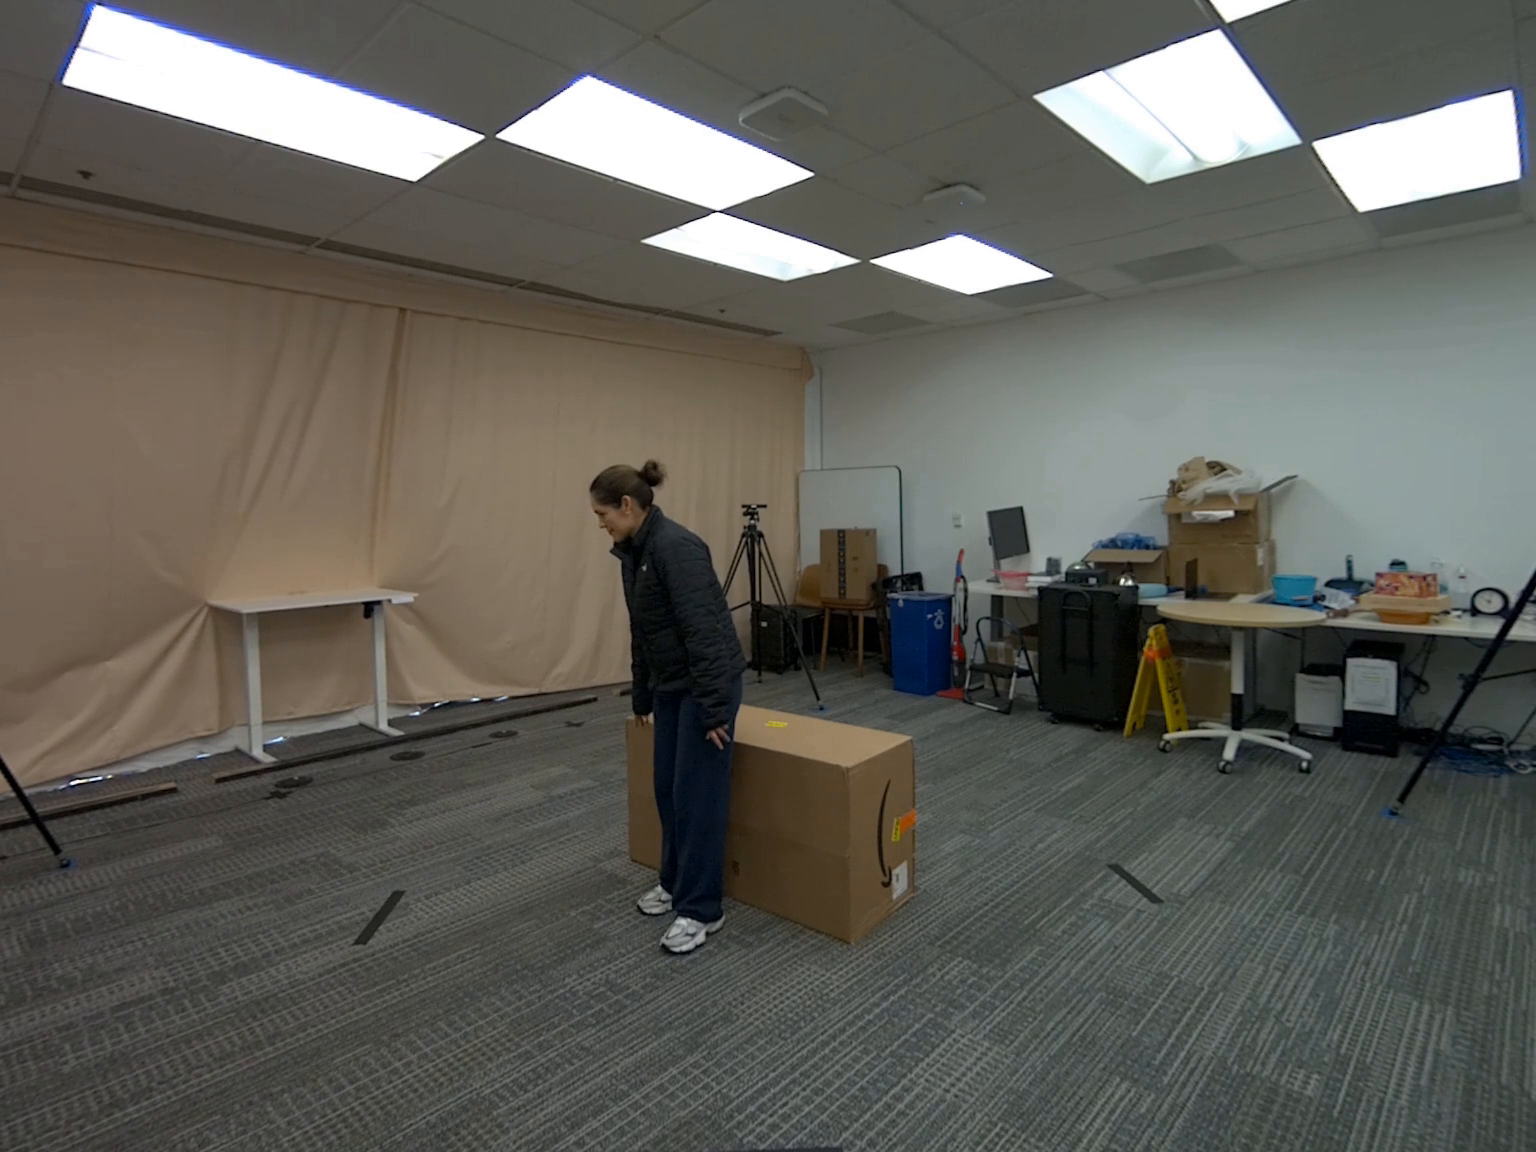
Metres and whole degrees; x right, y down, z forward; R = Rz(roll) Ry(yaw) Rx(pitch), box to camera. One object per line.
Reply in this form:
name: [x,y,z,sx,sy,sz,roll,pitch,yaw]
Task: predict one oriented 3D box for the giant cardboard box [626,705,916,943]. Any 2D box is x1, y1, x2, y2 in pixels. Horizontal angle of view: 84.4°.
giant cardboard box: [-0.004,0.842,3.138,1.059,0.576,0.414,3,6,39]
